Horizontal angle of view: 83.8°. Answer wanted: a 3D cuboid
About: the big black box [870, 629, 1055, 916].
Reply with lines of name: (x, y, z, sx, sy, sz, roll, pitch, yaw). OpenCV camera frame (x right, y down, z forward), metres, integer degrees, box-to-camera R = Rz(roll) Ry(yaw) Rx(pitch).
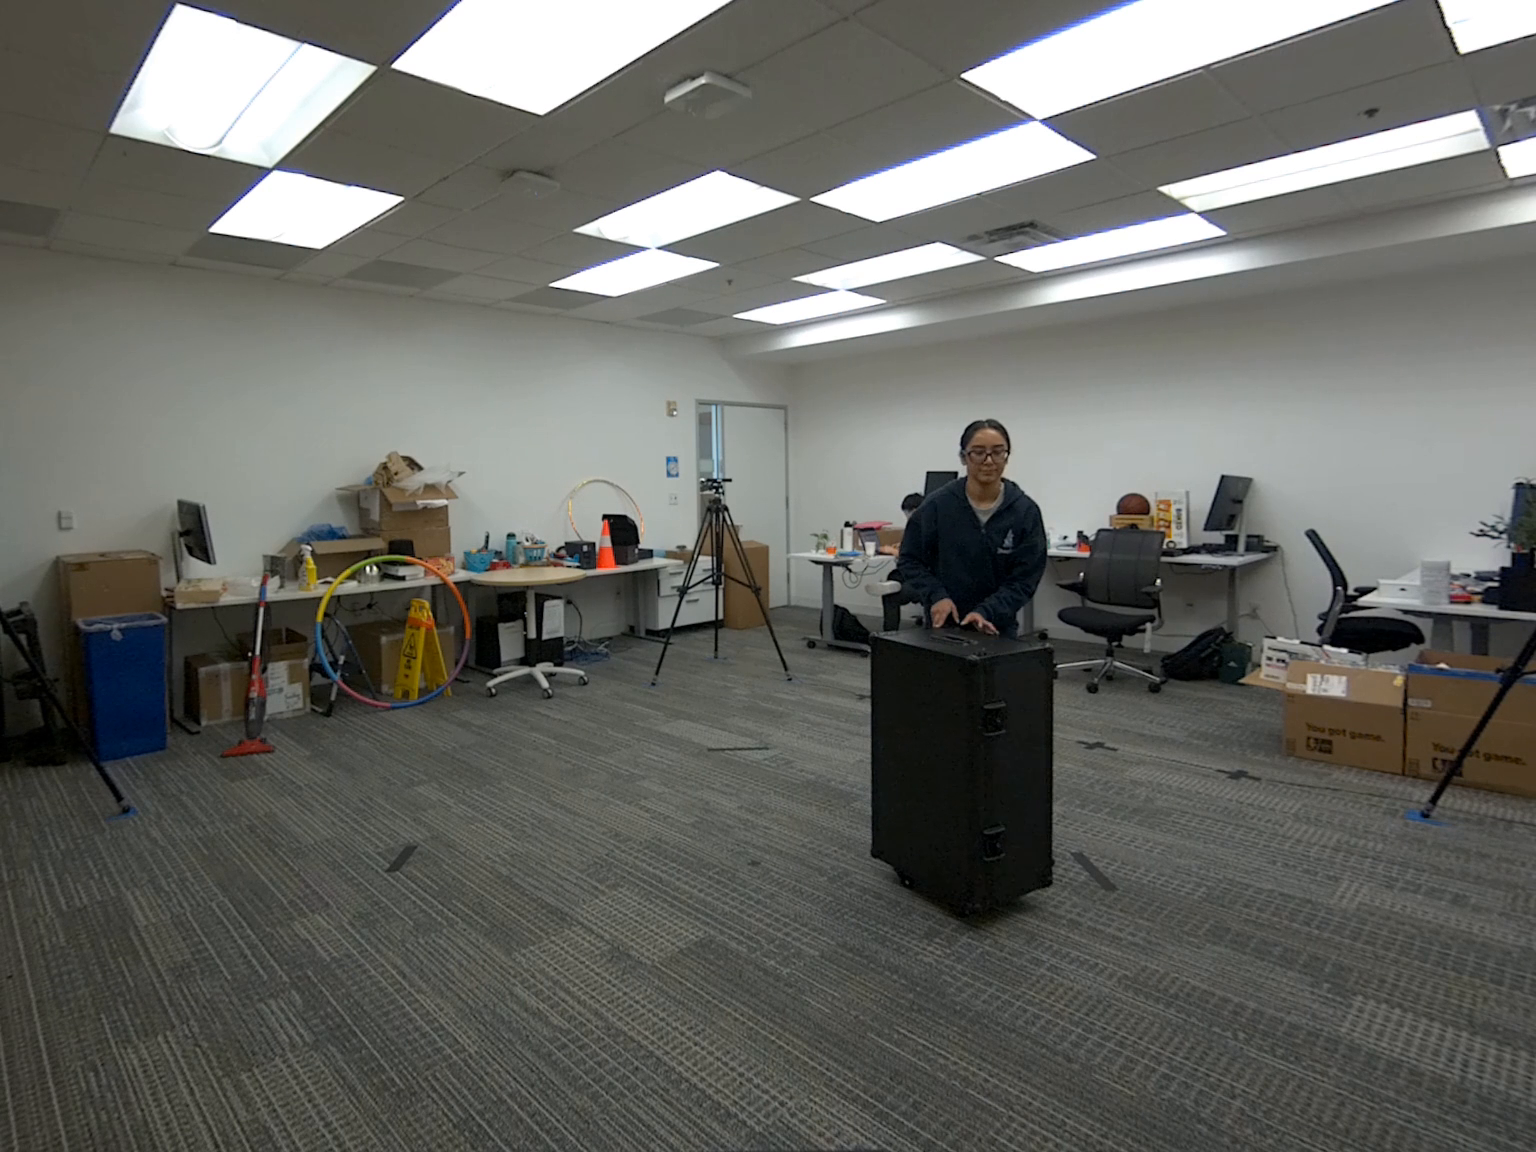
big black box: (0.639, 0.634, 2.859, 0.386, 0.859, 0.536, -3, 4, -33)
